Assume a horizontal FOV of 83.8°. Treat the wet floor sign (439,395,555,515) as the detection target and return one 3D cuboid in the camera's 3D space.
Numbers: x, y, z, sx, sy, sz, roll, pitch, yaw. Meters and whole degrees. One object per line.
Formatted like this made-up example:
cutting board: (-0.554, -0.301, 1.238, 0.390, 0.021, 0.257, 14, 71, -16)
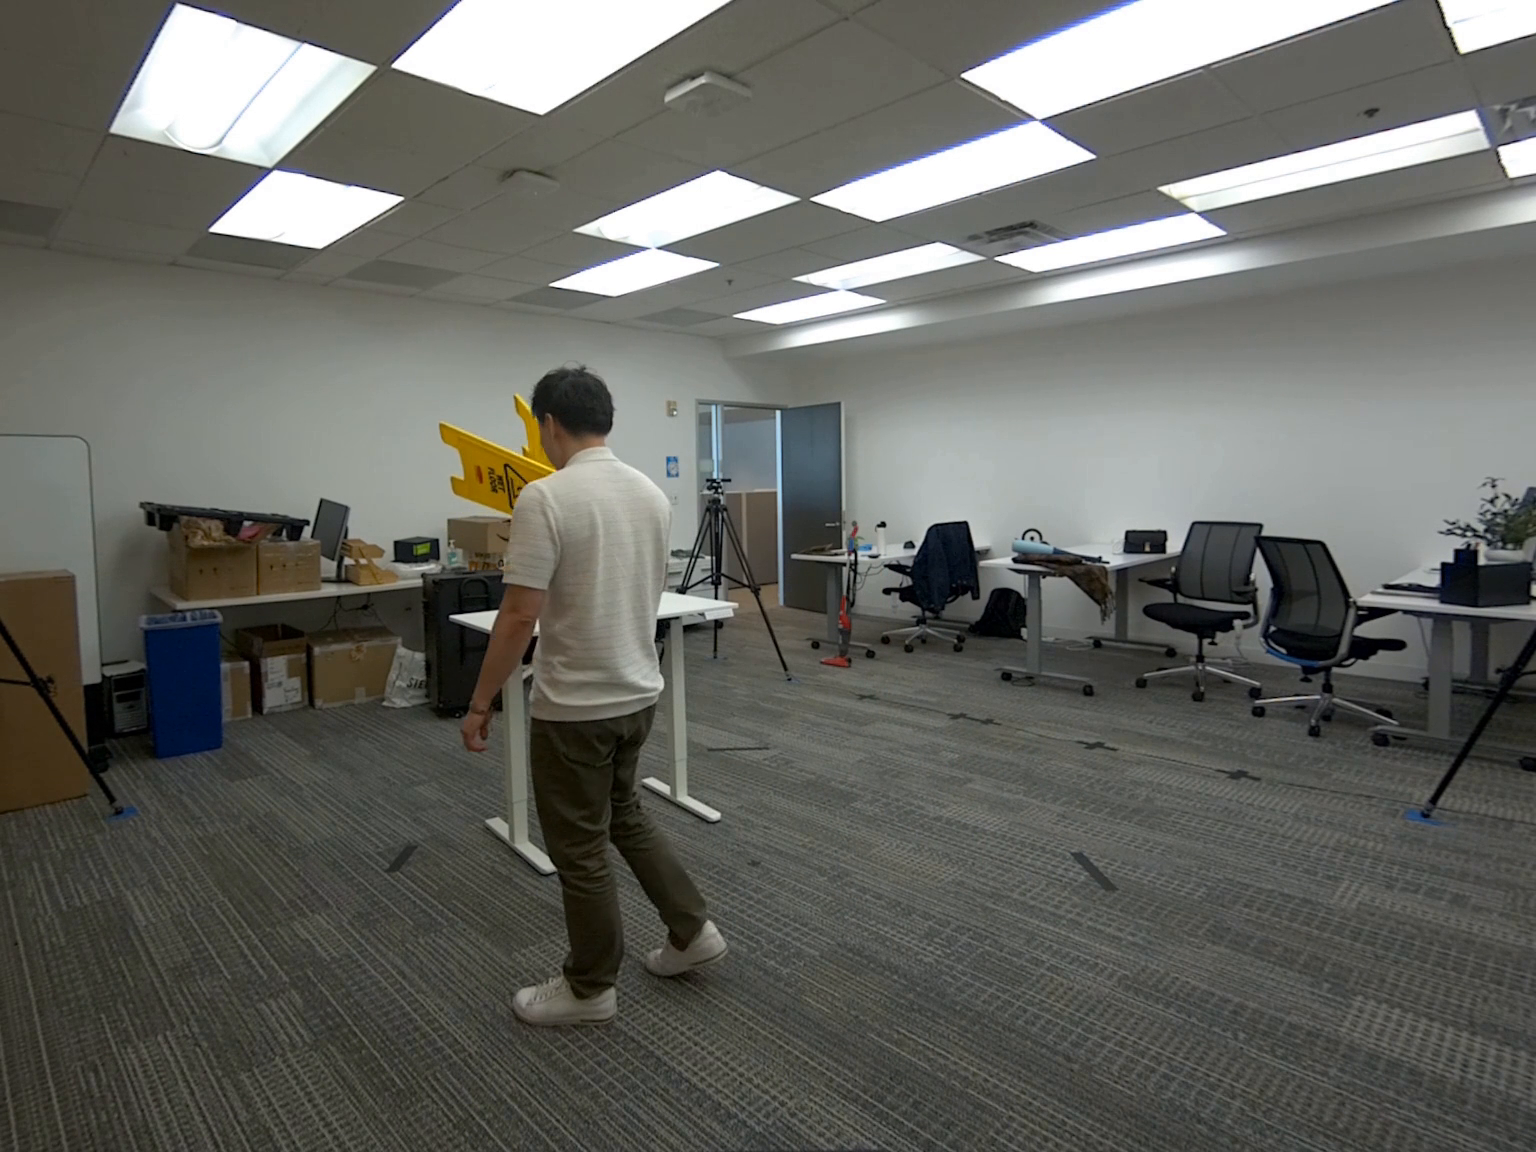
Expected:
wet floor sign: (-0.730, -0.310, 2.749, 0.670, 0.275, 0.287, 31, 47, 33)
